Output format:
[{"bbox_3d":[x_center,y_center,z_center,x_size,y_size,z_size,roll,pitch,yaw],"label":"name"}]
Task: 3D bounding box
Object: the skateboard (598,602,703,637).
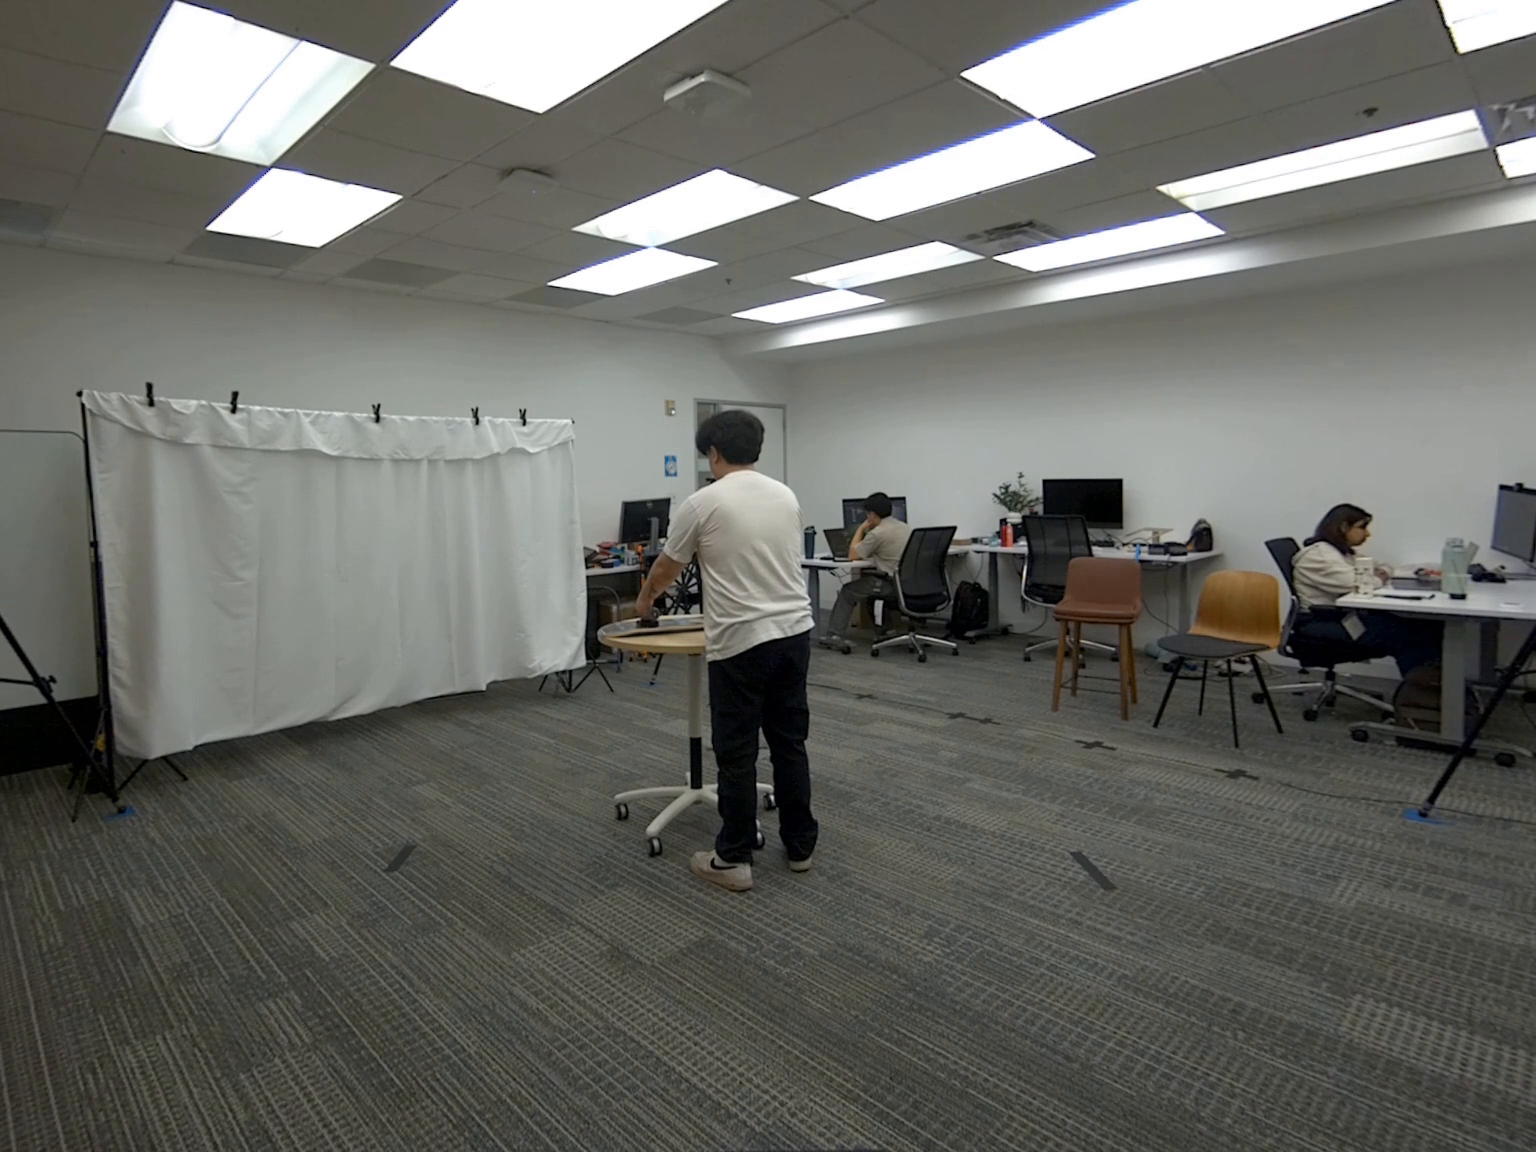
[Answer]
[{"bbox_3d":[-0.301,0.160,3.468,0.769,0.110,0.198,-4,6,-26],"label":"skateboard"}]
